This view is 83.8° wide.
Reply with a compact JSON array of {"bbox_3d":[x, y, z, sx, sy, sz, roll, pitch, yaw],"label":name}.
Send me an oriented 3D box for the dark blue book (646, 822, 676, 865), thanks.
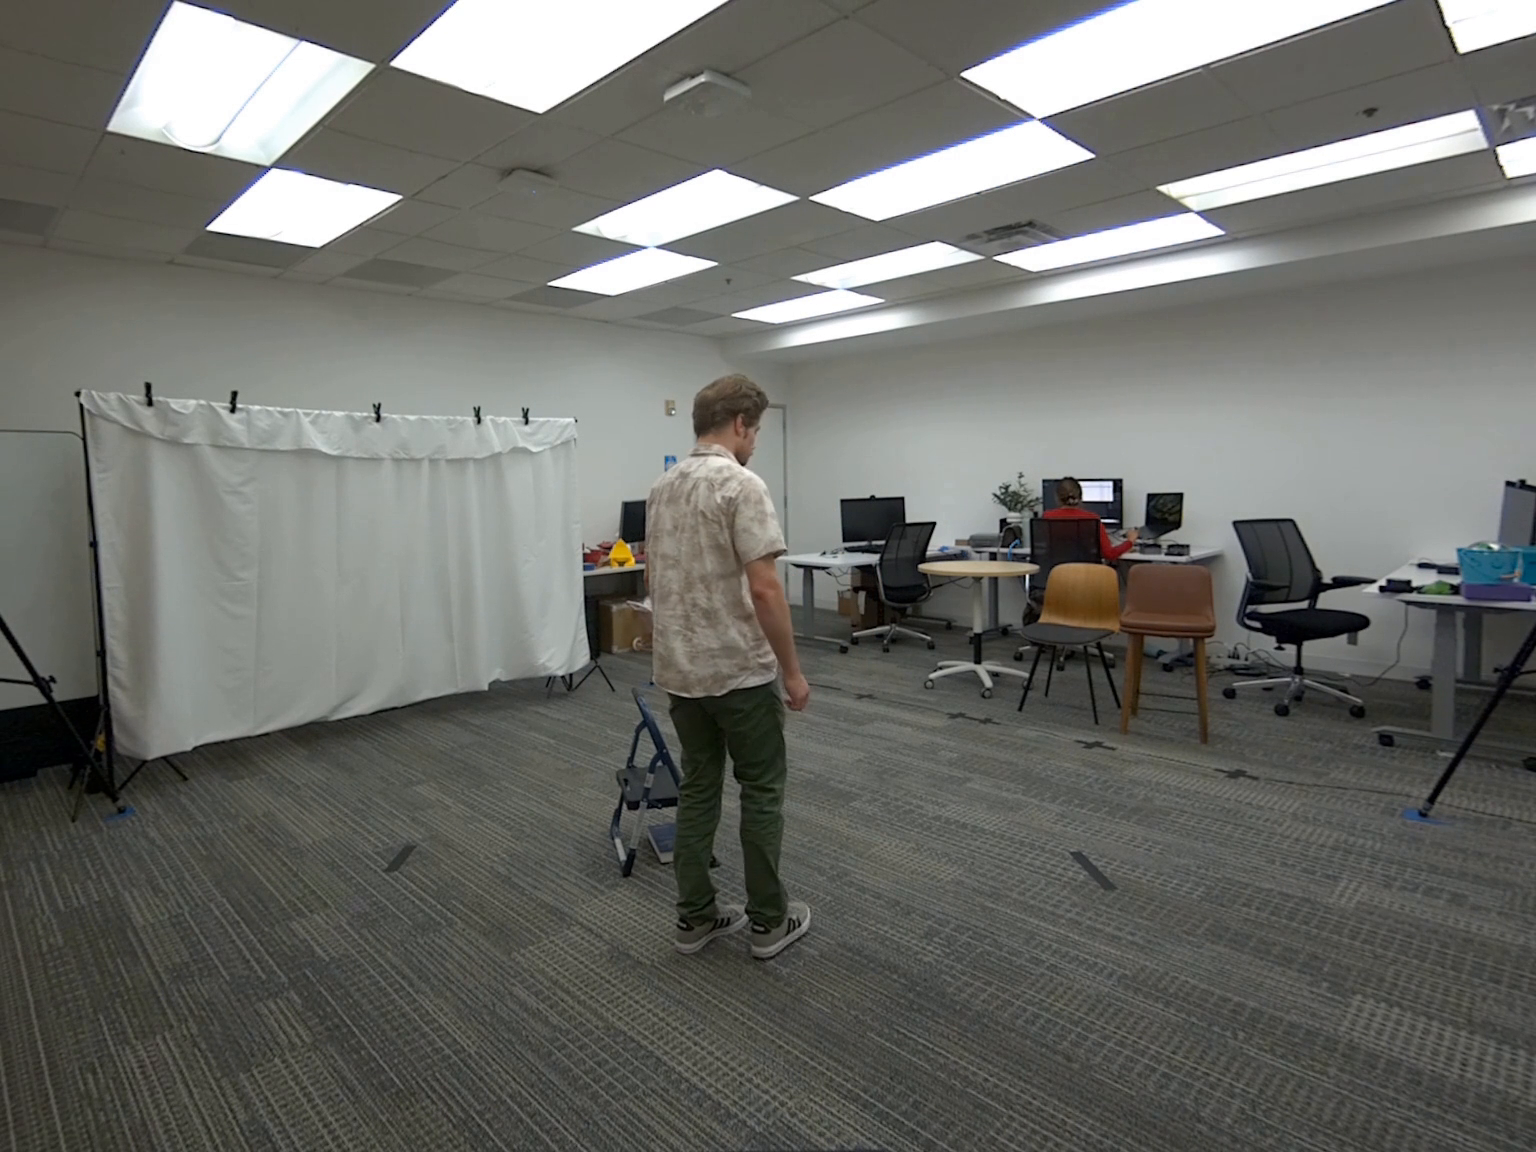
[{"bbox_3d":[-0.360,1.010,3.251,0.161,0.045,0.250,-3,8,-18],"label":"dark blue book"}]
